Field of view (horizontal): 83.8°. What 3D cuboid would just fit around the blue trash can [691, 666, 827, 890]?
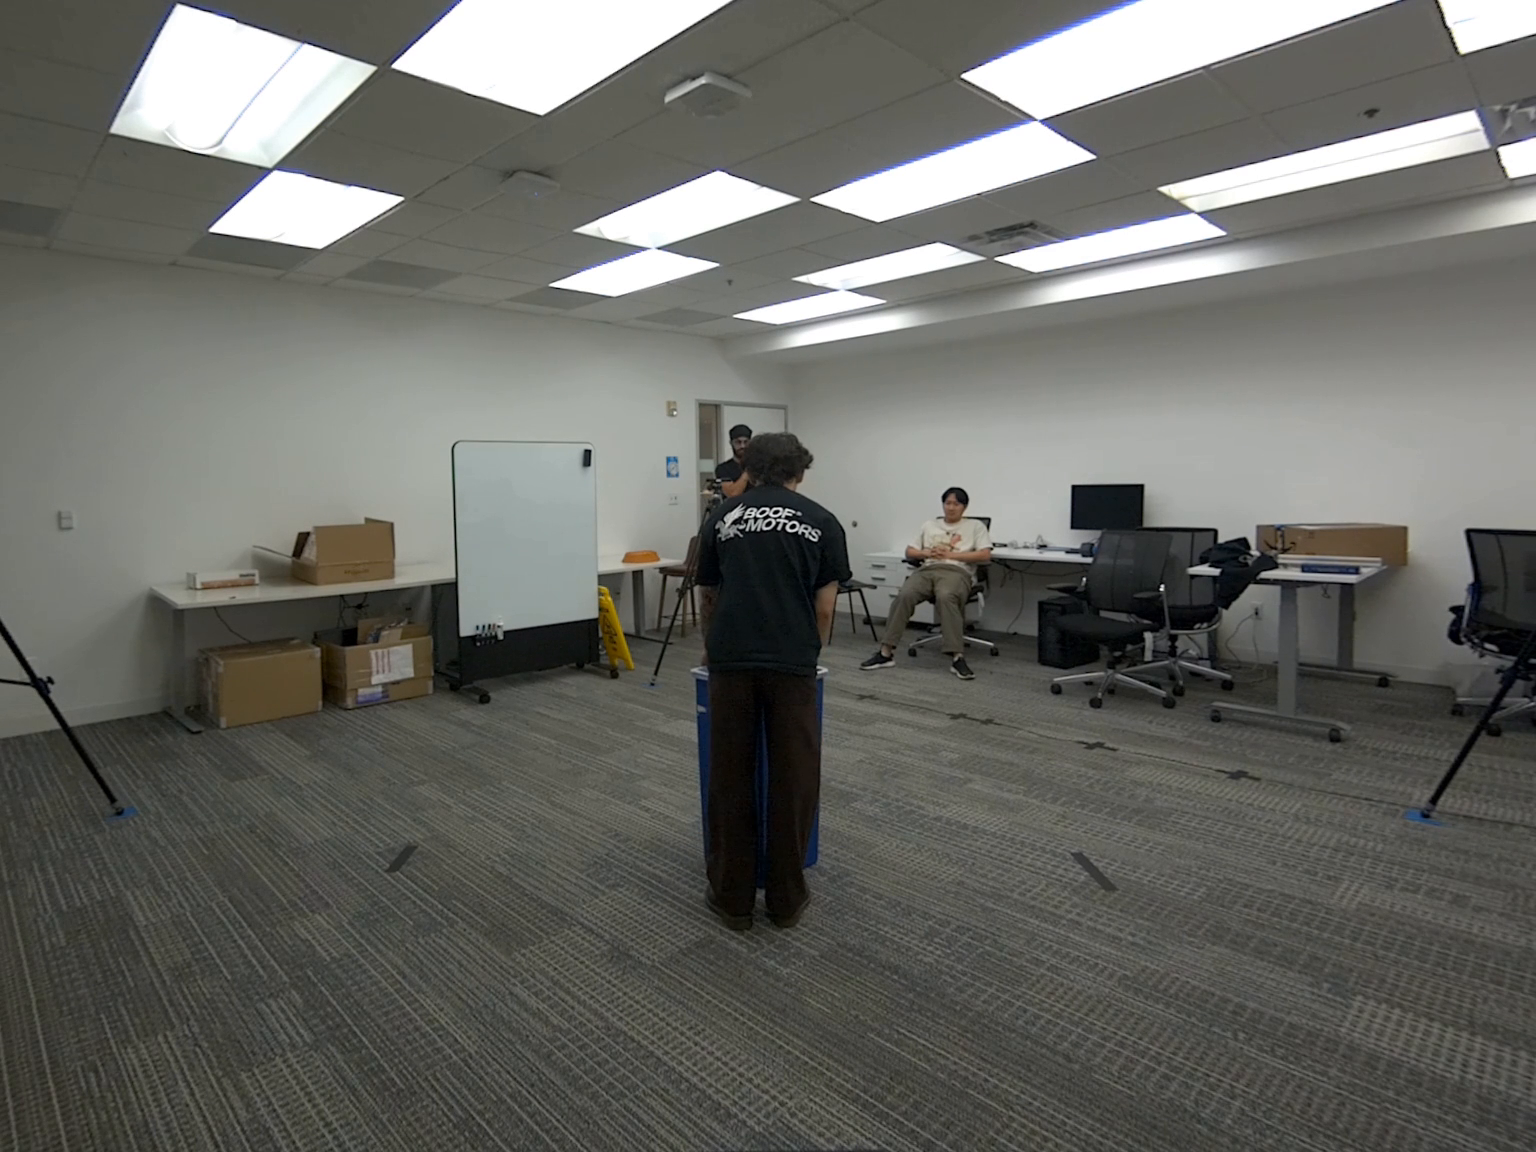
[{"bbox_3d":[-0.017,0.681,3.087,0.385,0.711,0.368,4,6,44],"label":"blue trash can"}]
